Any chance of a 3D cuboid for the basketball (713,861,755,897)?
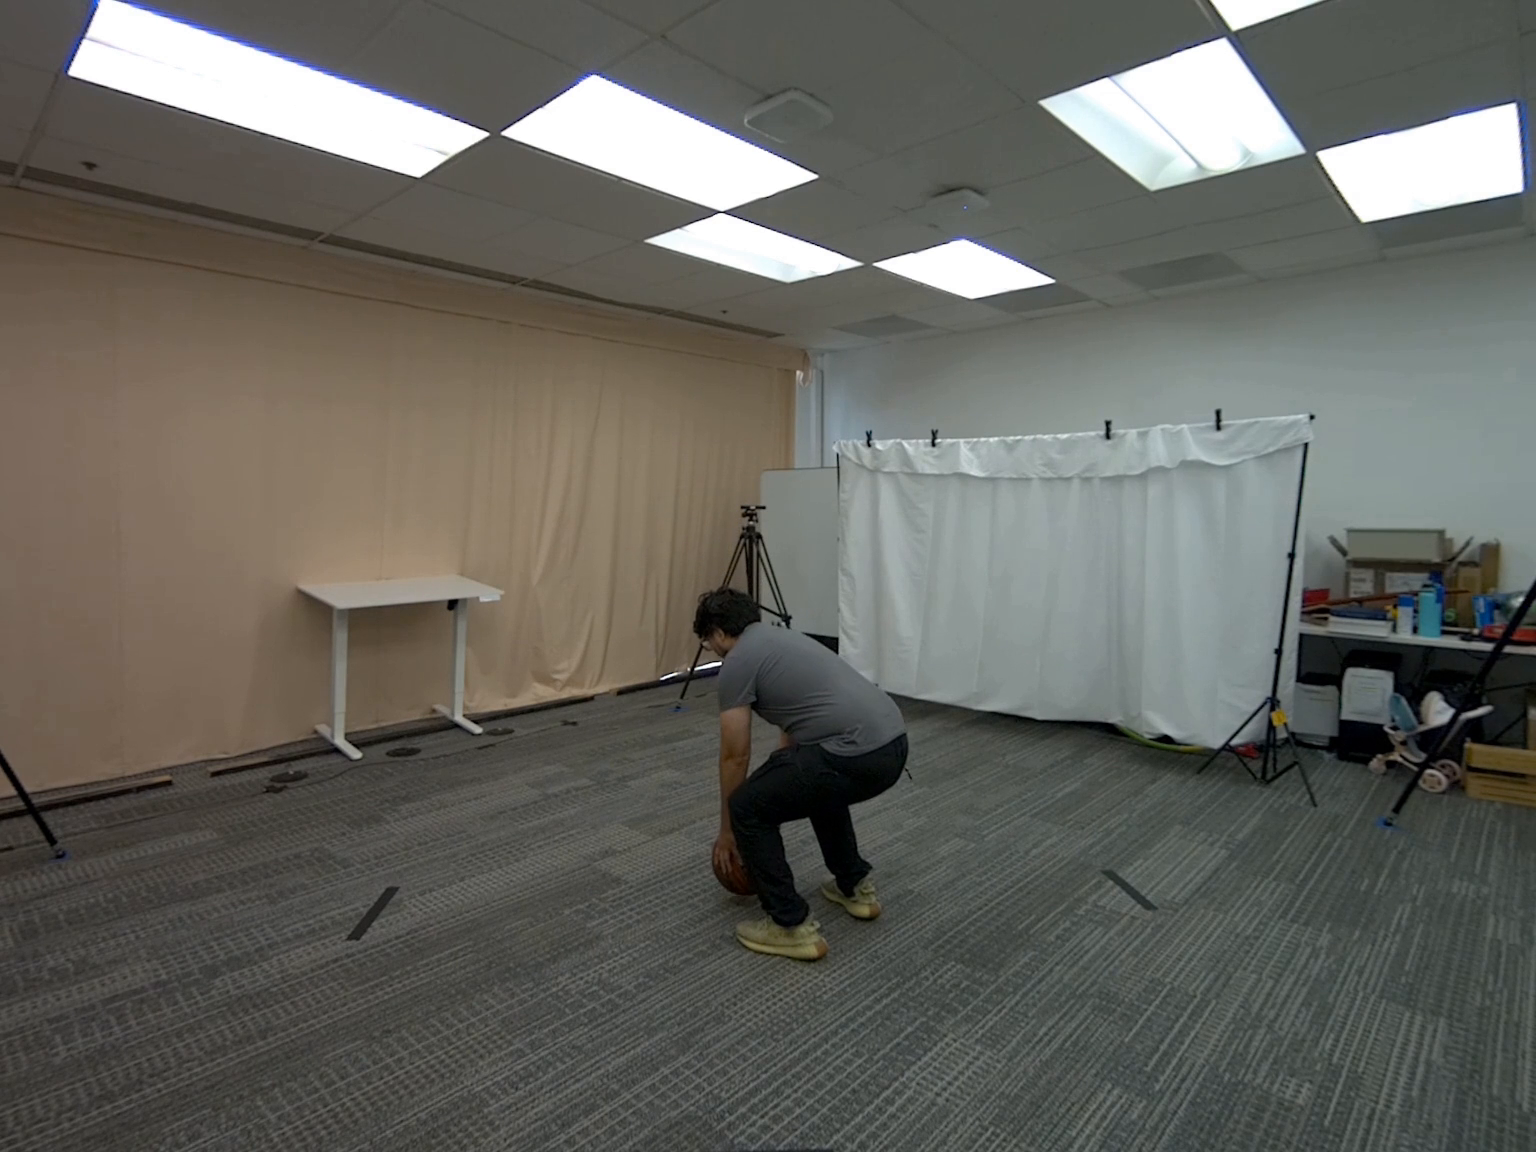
[{"bbox_3d":[-0.072,0.985,2.952,0.236,0.235,0.237,0,4,-2],"label":"basketball"}]
